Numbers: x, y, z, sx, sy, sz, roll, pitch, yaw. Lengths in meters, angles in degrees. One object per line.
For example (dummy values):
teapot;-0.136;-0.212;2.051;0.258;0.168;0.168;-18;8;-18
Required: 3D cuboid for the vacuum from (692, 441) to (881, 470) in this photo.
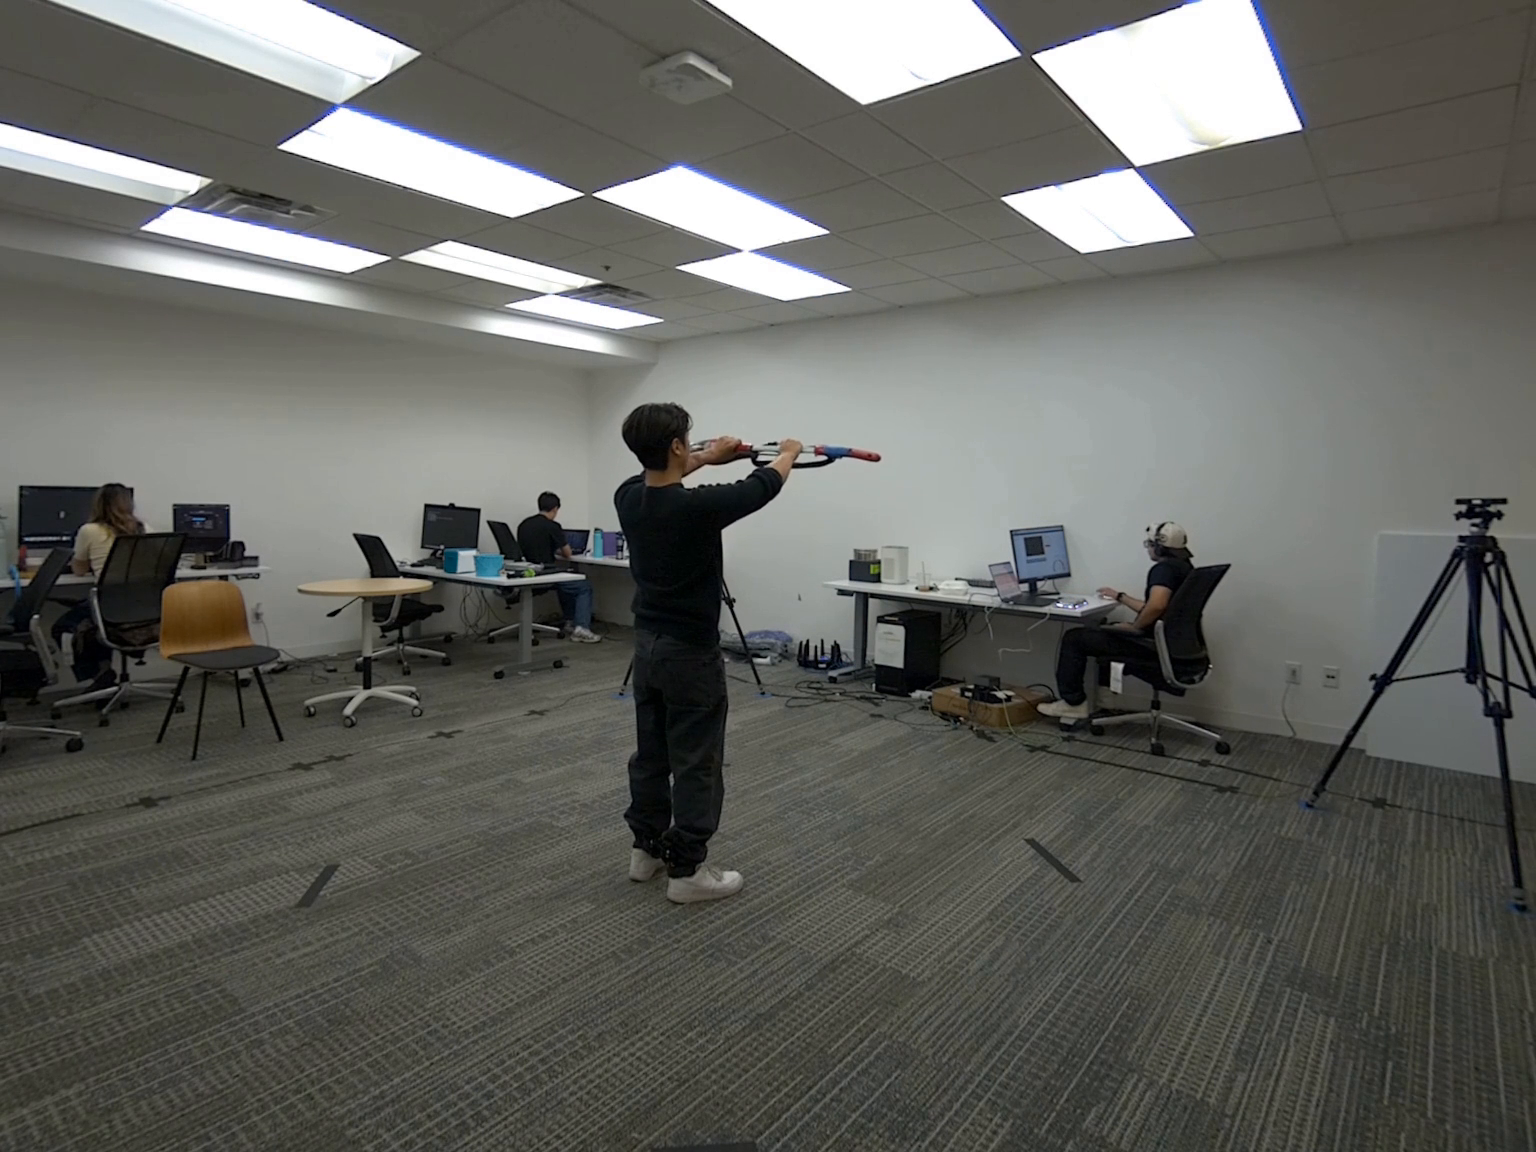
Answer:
vacuum;-0.054;-0.474;3.298;1.087;0.254;0.138;10;-17;41
